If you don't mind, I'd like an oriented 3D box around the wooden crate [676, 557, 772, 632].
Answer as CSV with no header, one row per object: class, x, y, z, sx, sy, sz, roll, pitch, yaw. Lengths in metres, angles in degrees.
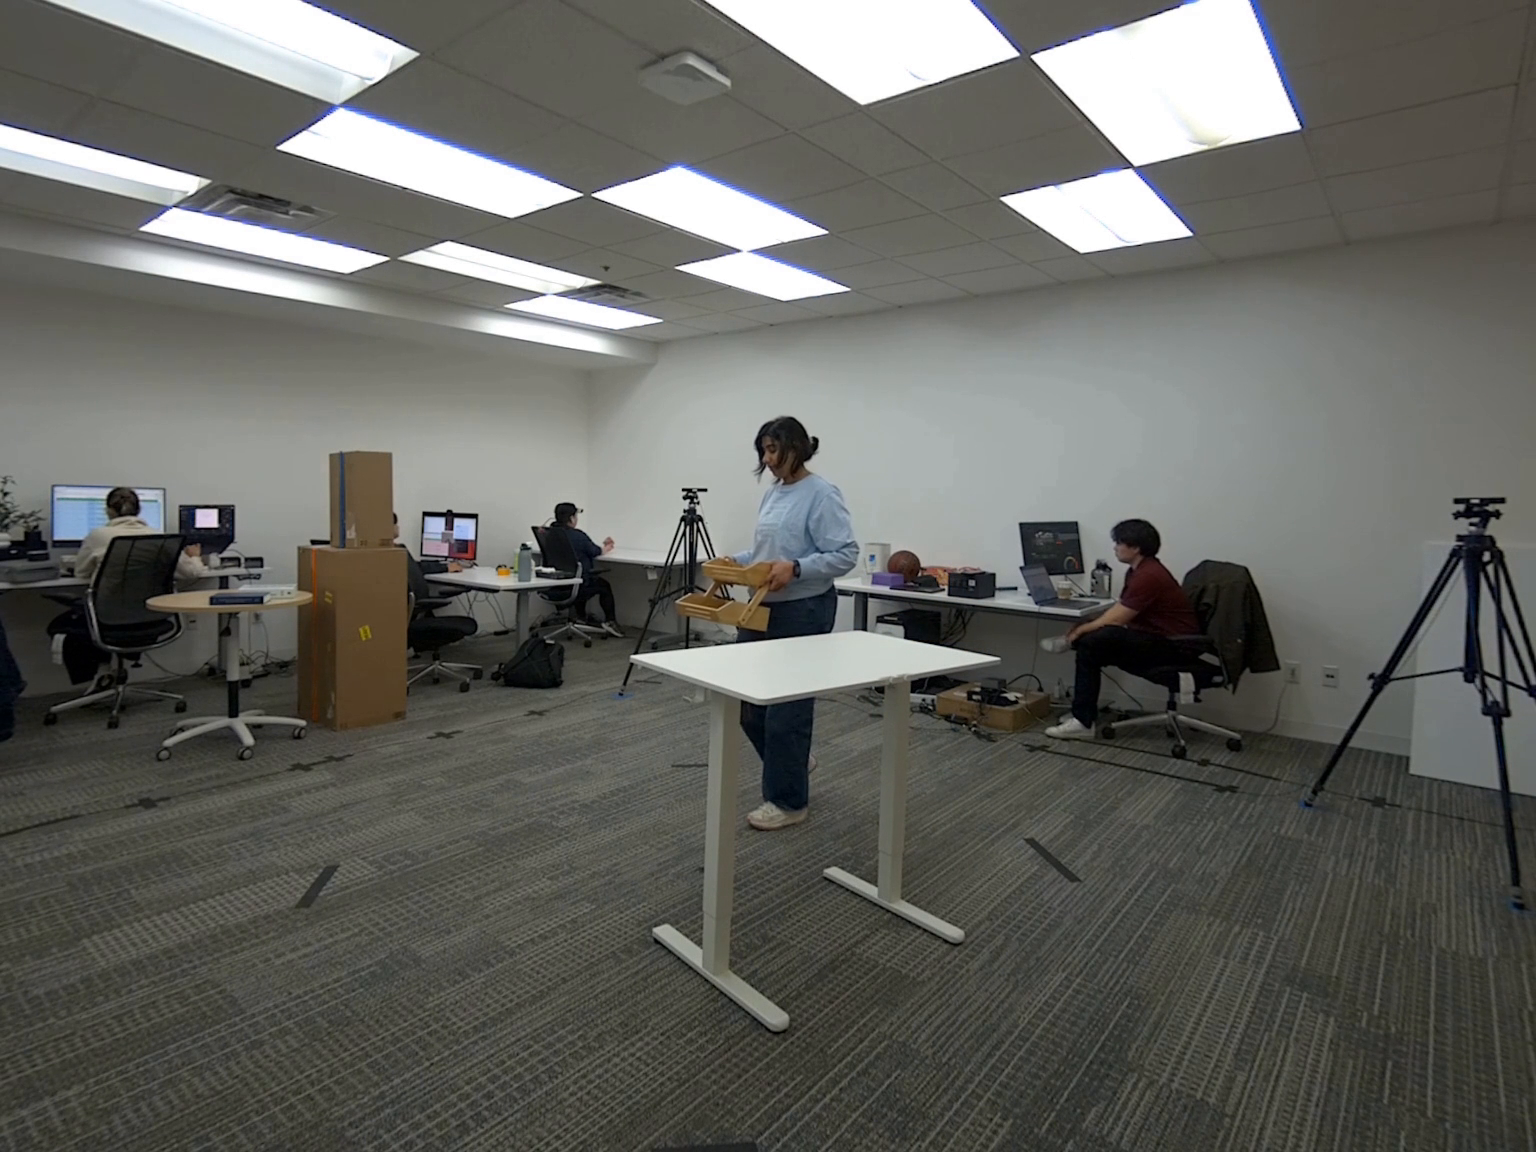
wooden crate,-0.166,0.052,3.438,0.291,0.274,0.335,15,-5,-37
